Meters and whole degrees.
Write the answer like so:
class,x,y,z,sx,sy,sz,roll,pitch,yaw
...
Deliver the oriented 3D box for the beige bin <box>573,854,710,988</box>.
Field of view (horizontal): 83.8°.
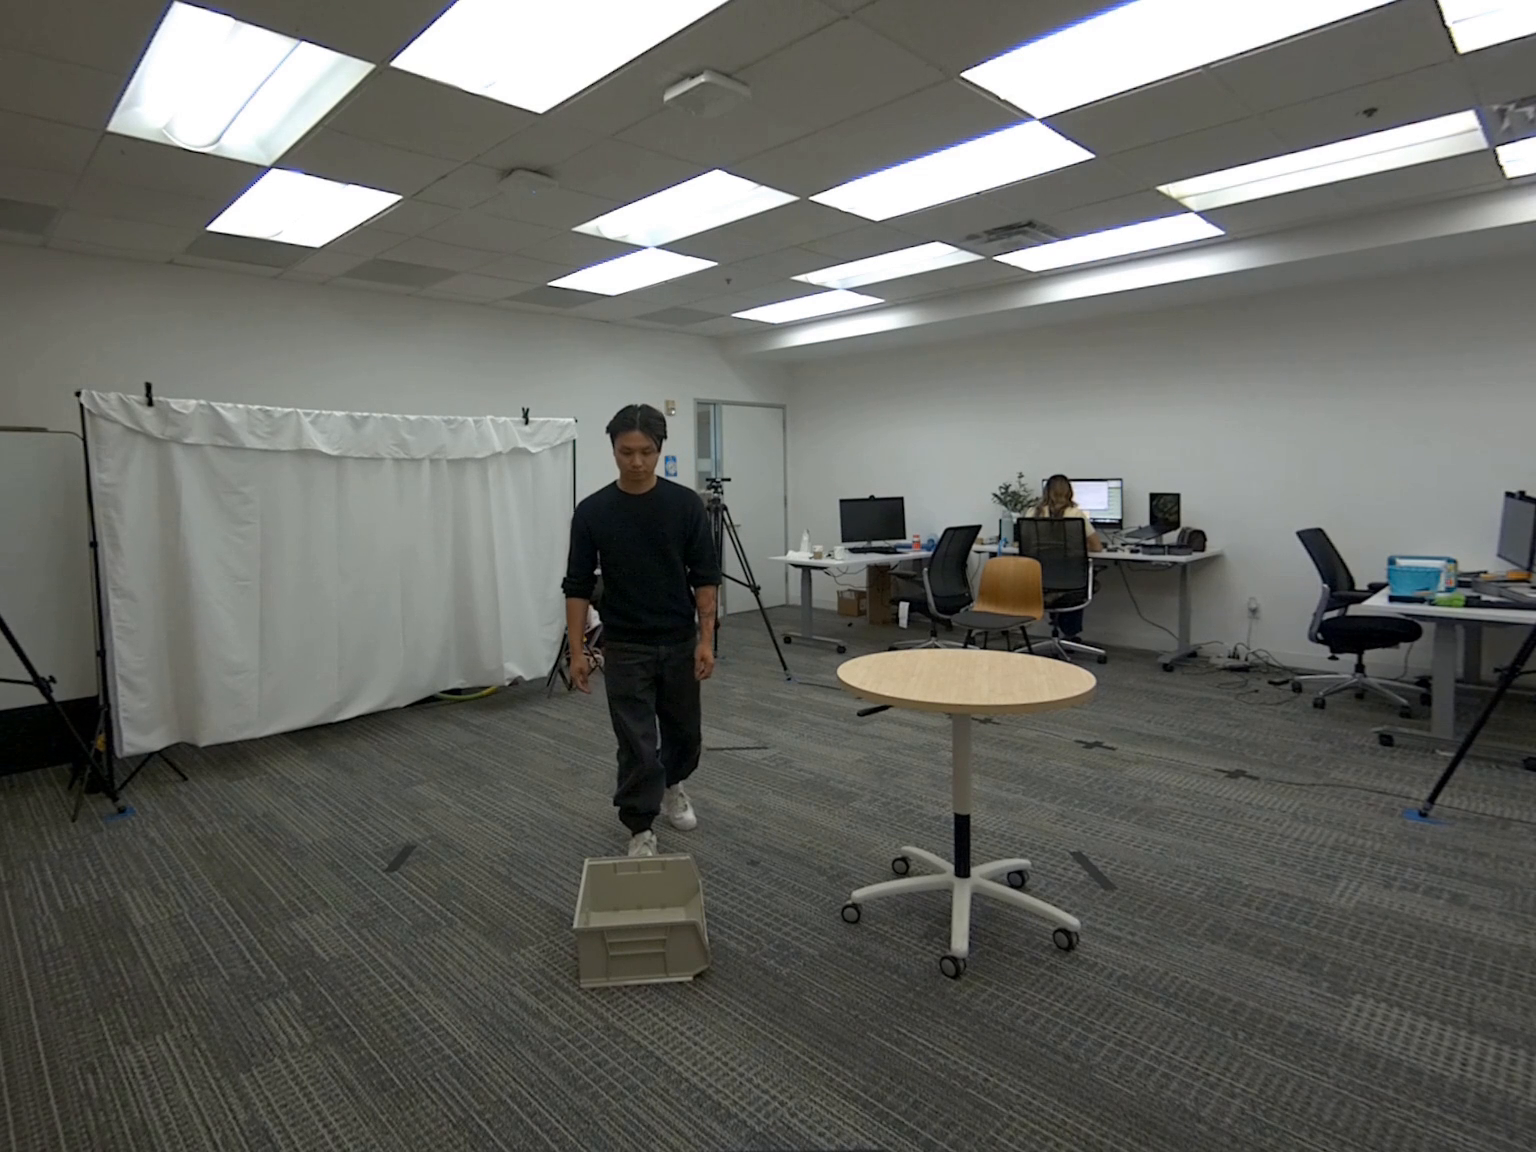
class,x,y,z,sx,sy,sz,roll,pitch,yaw
beige bin,-0.372,1.024,2.573,0.375,0.188,0.427,-2,7,-6
